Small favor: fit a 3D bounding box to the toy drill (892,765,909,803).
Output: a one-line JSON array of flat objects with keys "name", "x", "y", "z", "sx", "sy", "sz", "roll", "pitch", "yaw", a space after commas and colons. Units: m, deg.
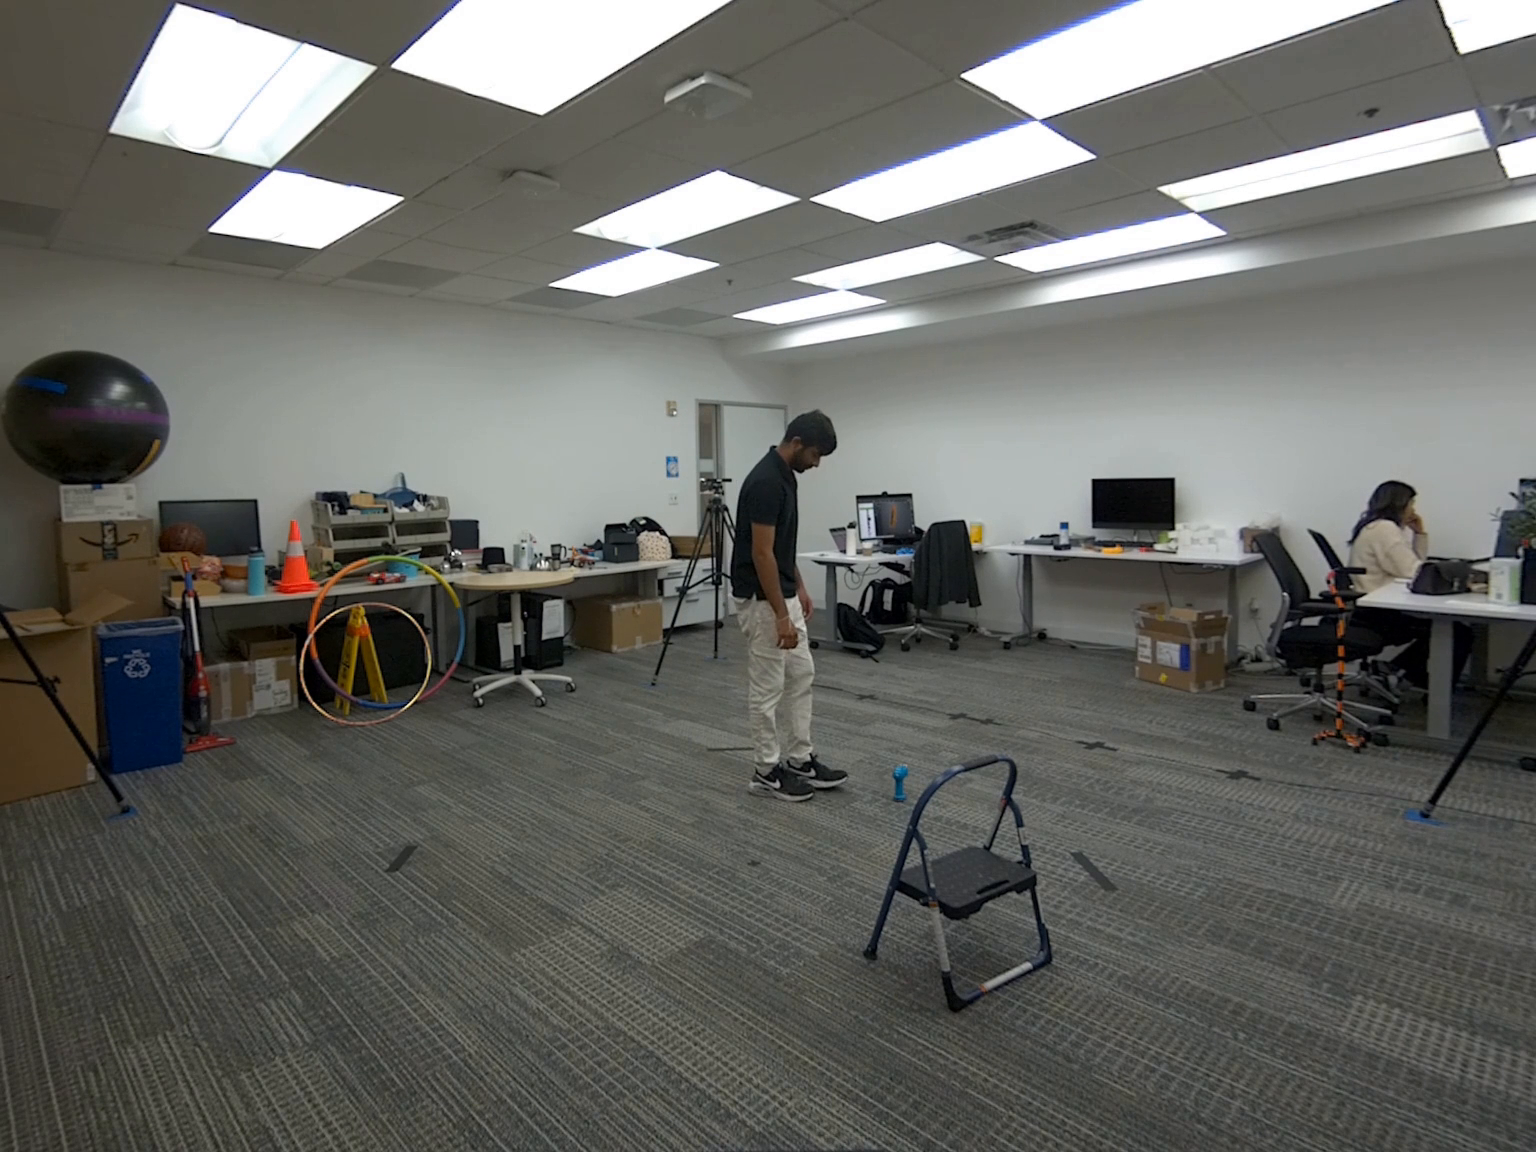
[{"name": "toy drill", "x": 0.582, "y": 0.890, "z": 3.733, "sx": 0.062, "sy": 0.145, "sz": 0.167, "roll": -1, "pitch": 5, "yaw": 21}]
